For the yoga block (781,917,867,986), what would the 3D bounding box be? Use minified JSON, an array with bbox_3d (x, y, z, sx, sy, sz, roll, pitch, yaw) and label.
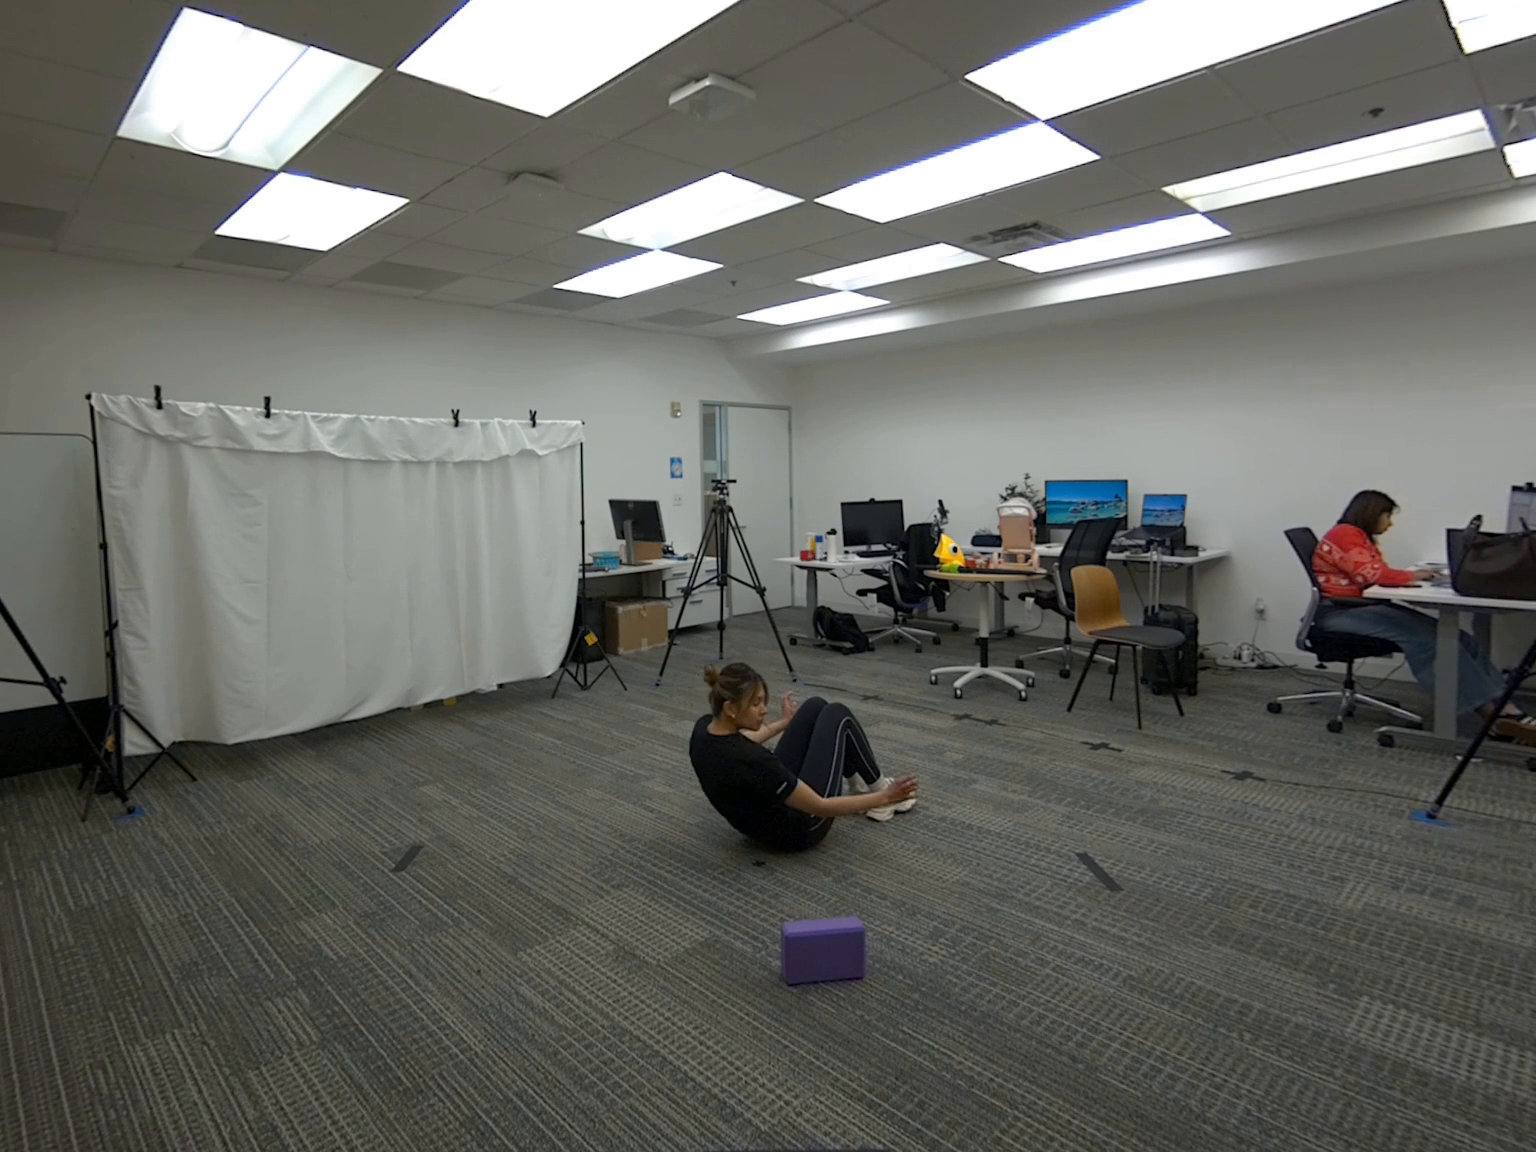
[{"bbox_3d":[0.153,1.053,2.399,0.227,0.148,0.077,-2,6,-8],"label":"yoga block"}]
